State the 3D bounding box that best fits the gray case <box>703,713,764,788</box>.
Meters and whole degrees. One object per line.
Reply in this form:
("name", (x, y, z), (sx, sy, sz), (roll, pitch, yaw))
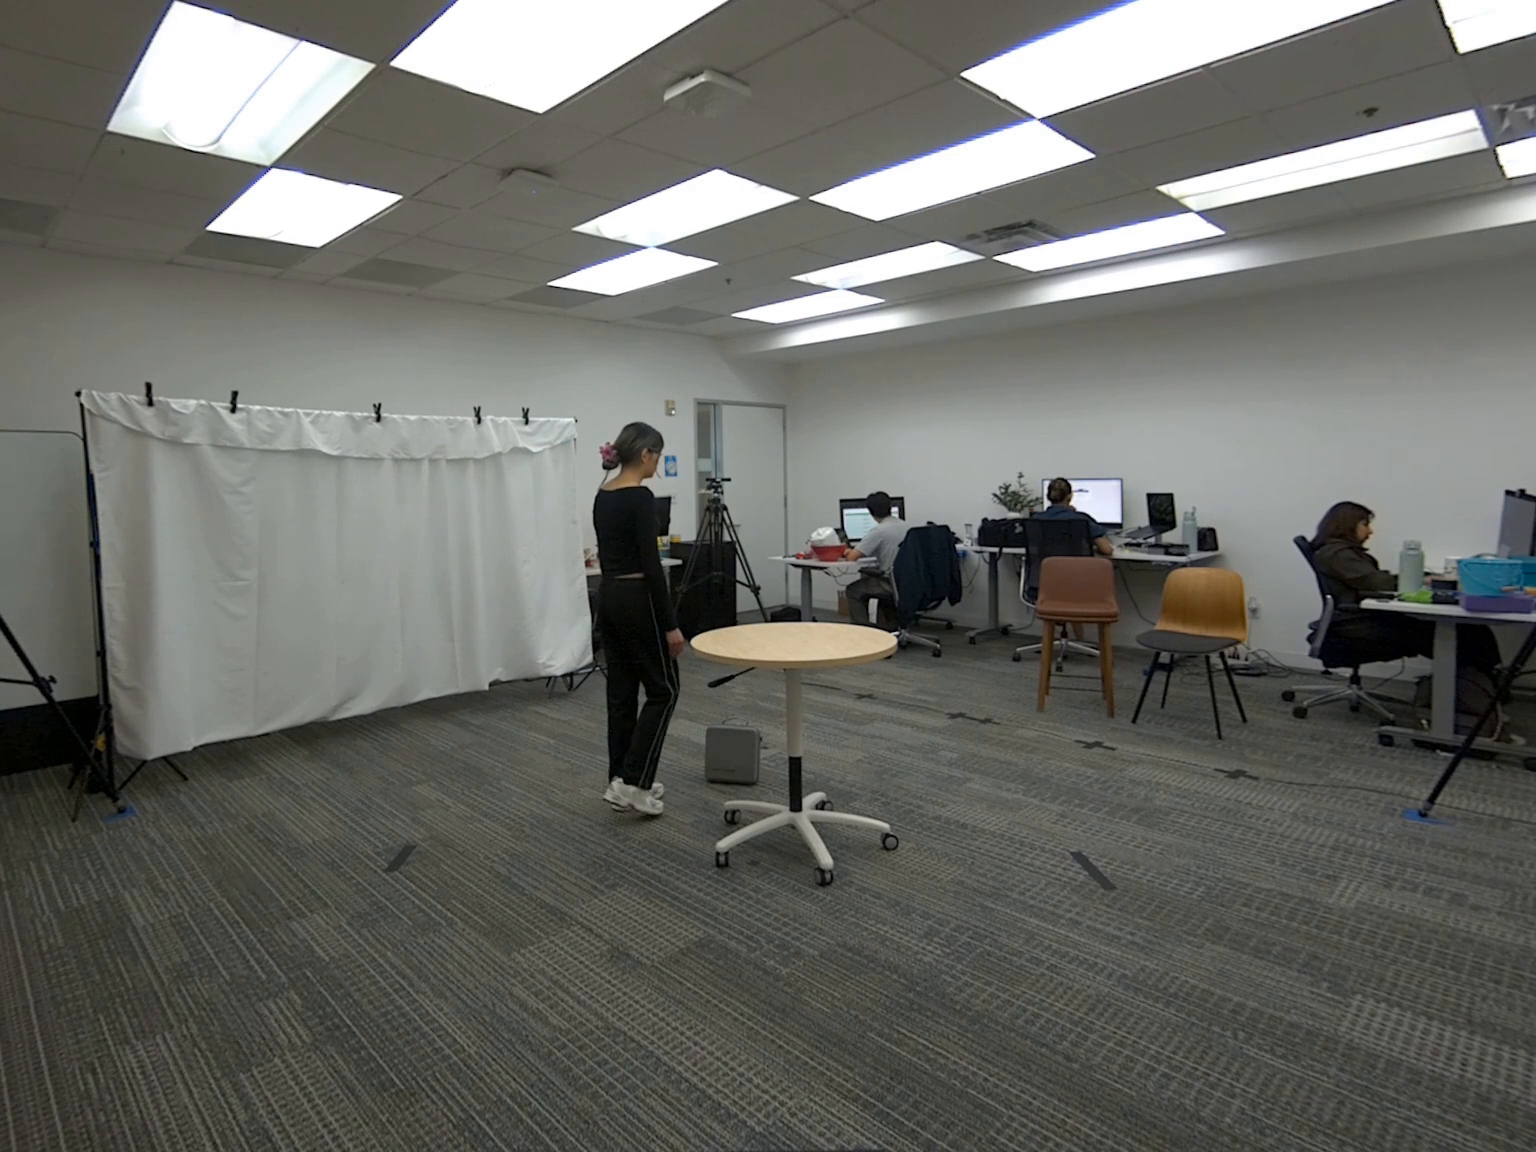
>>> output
("gray case", (-0.165, 0.817, 3.962), (0.261, 0.262, 0.102), (1, -7, 15))
